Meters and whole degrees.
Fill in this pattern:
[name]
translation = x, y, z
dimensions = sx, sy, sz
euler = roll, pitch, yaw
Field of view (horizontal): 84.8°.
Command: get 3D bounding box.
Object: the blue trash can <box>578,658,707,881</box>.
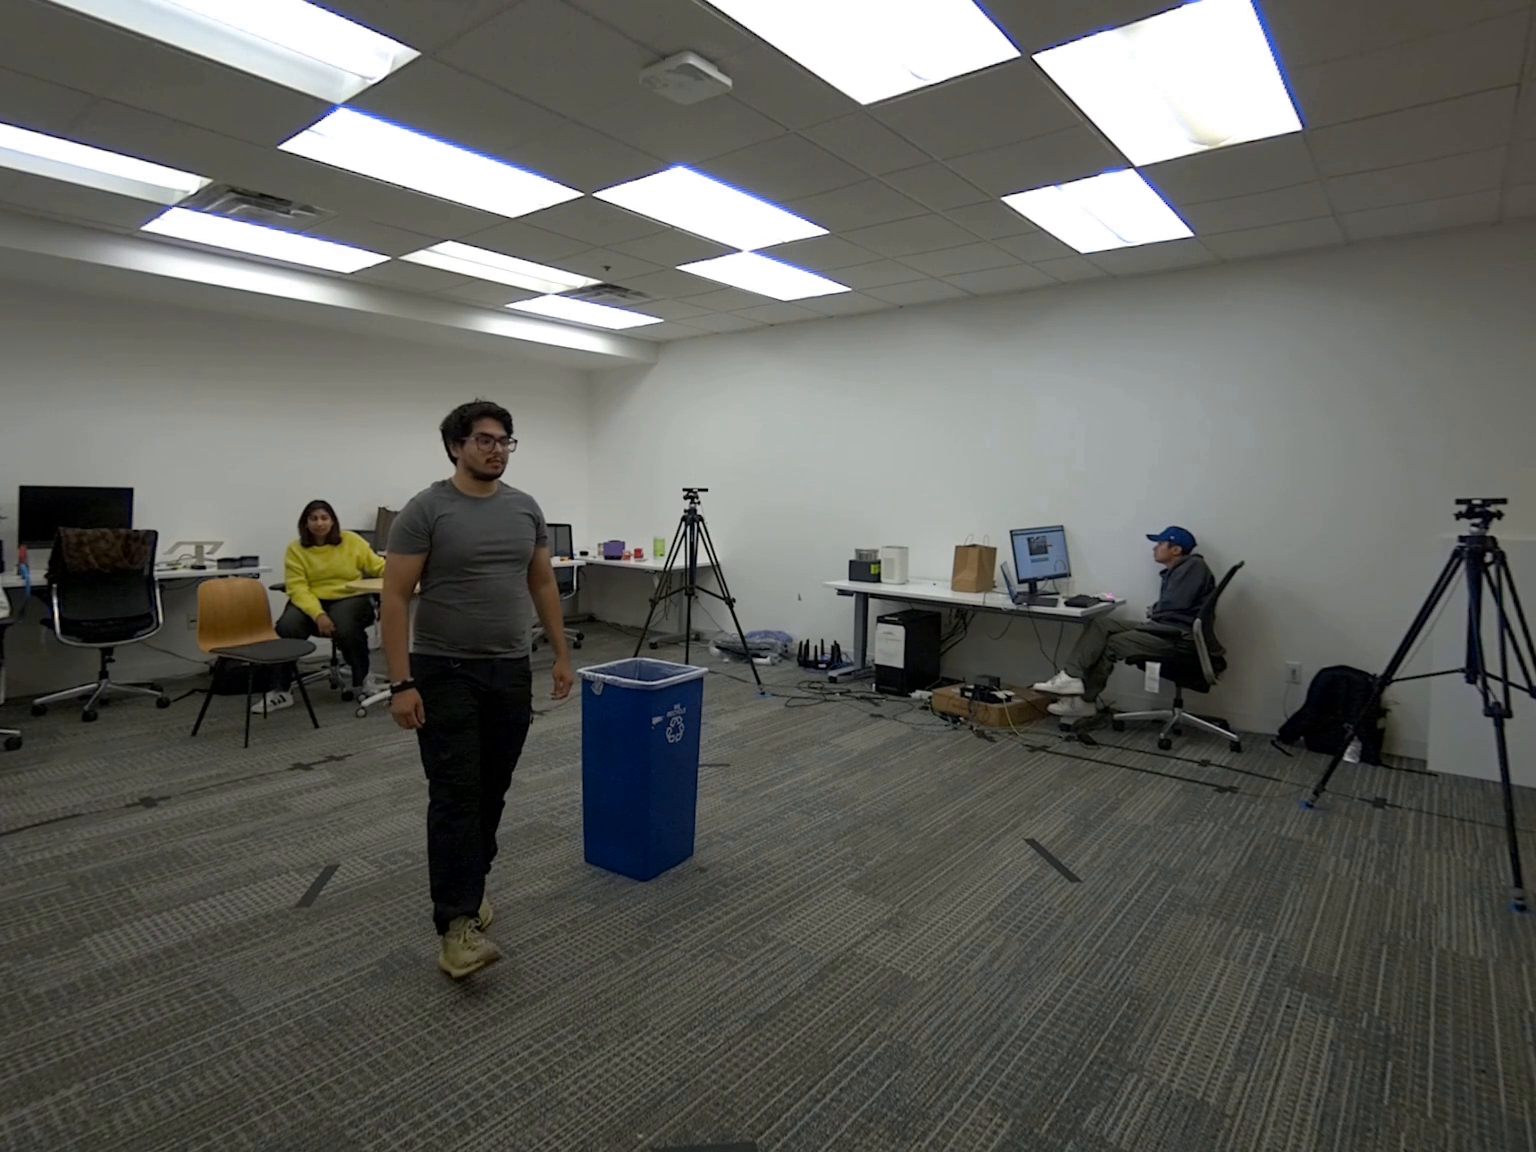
[blue trash can]
translation = -0.483, 0.699, 3.190
dimensions = 0.390, 0.712, 0.364
euler = 3, 4, 32
